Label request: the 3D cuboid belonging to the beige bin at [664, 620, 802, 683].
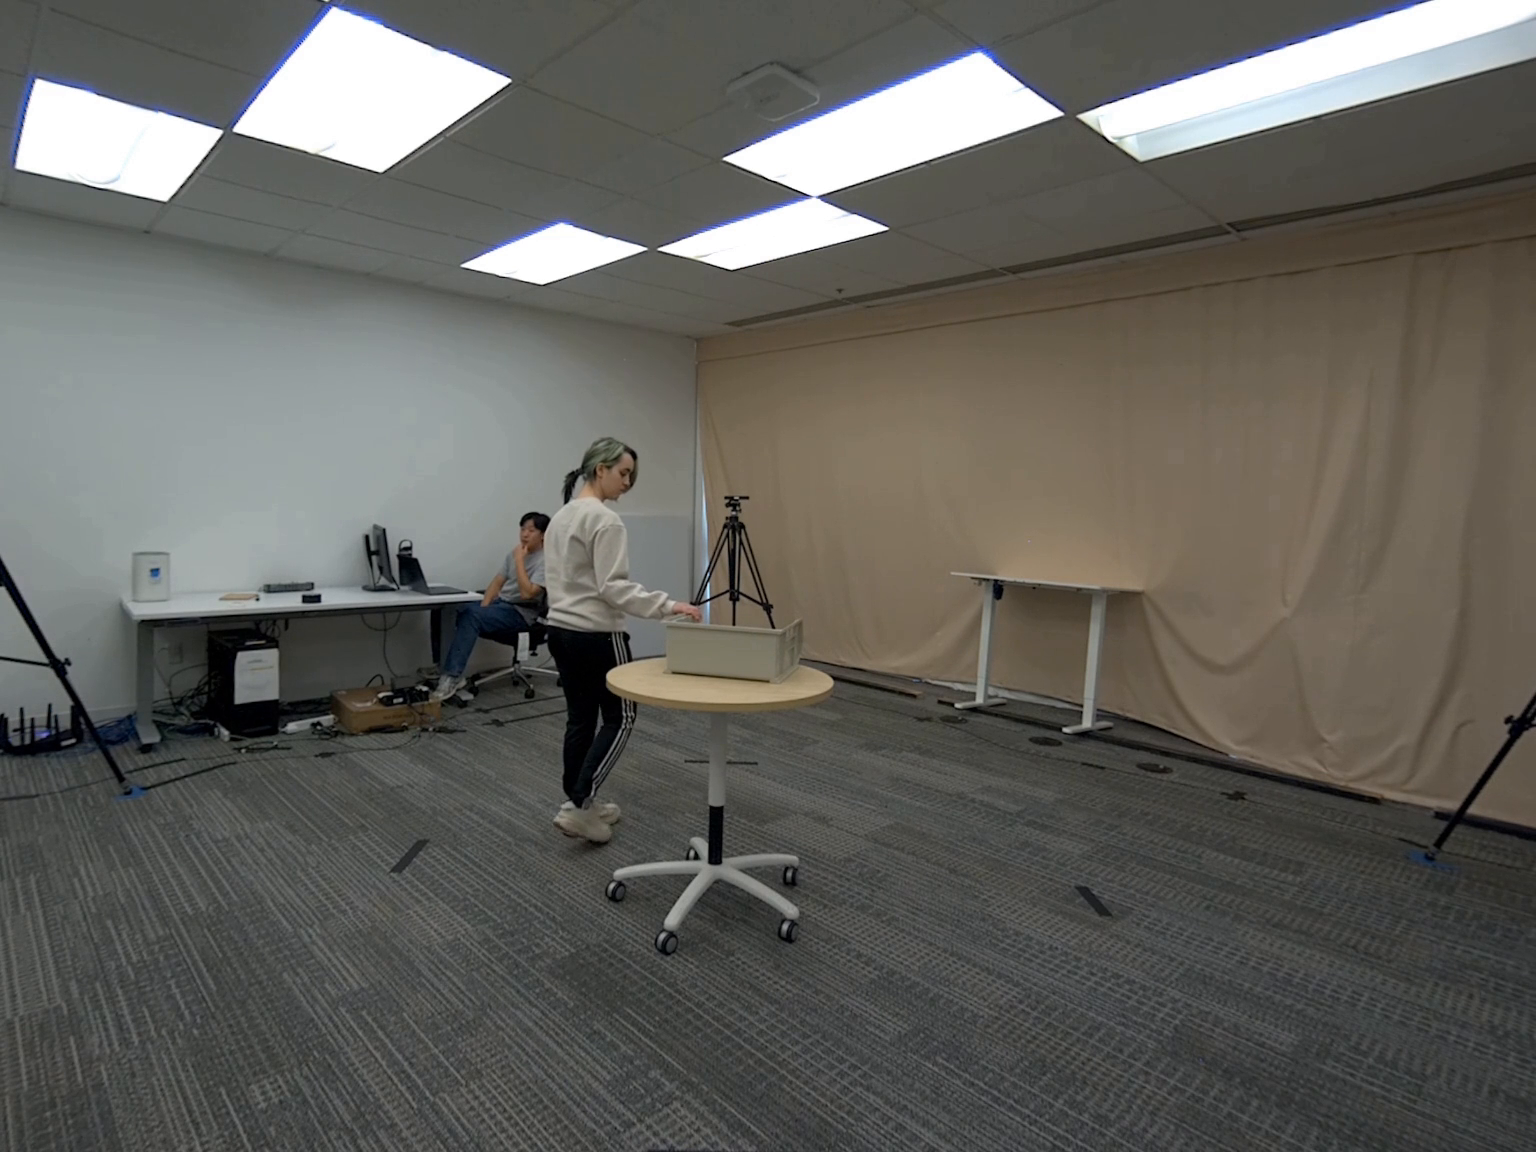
[{"bbox_3d":[-0.120,0.240,2.976,0.428,0.188,0.374,3,7,16],"label":"beige bin"}]
